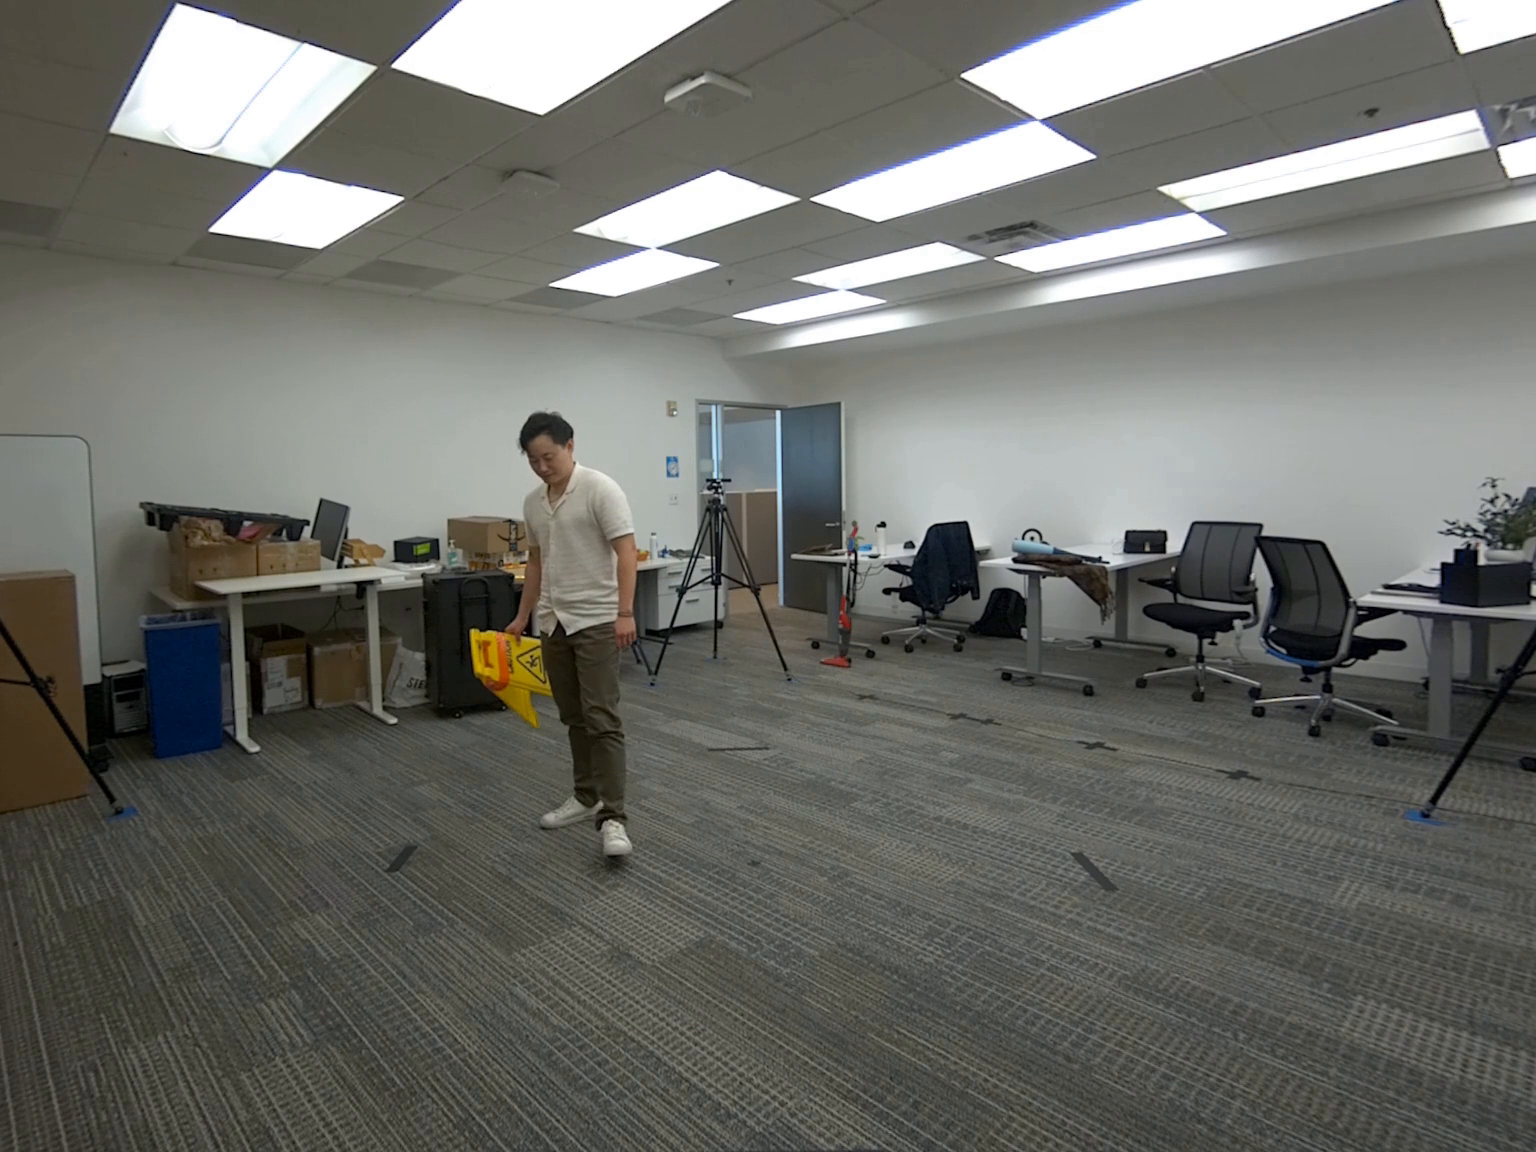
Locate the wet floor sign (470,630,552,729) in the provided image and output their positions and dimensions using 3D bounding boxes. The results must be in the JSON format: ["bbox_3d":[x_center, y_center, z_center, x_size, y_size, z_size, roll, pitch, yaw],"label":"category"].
[{"bbox_3d":[-1.056,0.405,3.637,0.291,0.290,0.624,-22,-28,11],"label":"wet floor sign"}]
